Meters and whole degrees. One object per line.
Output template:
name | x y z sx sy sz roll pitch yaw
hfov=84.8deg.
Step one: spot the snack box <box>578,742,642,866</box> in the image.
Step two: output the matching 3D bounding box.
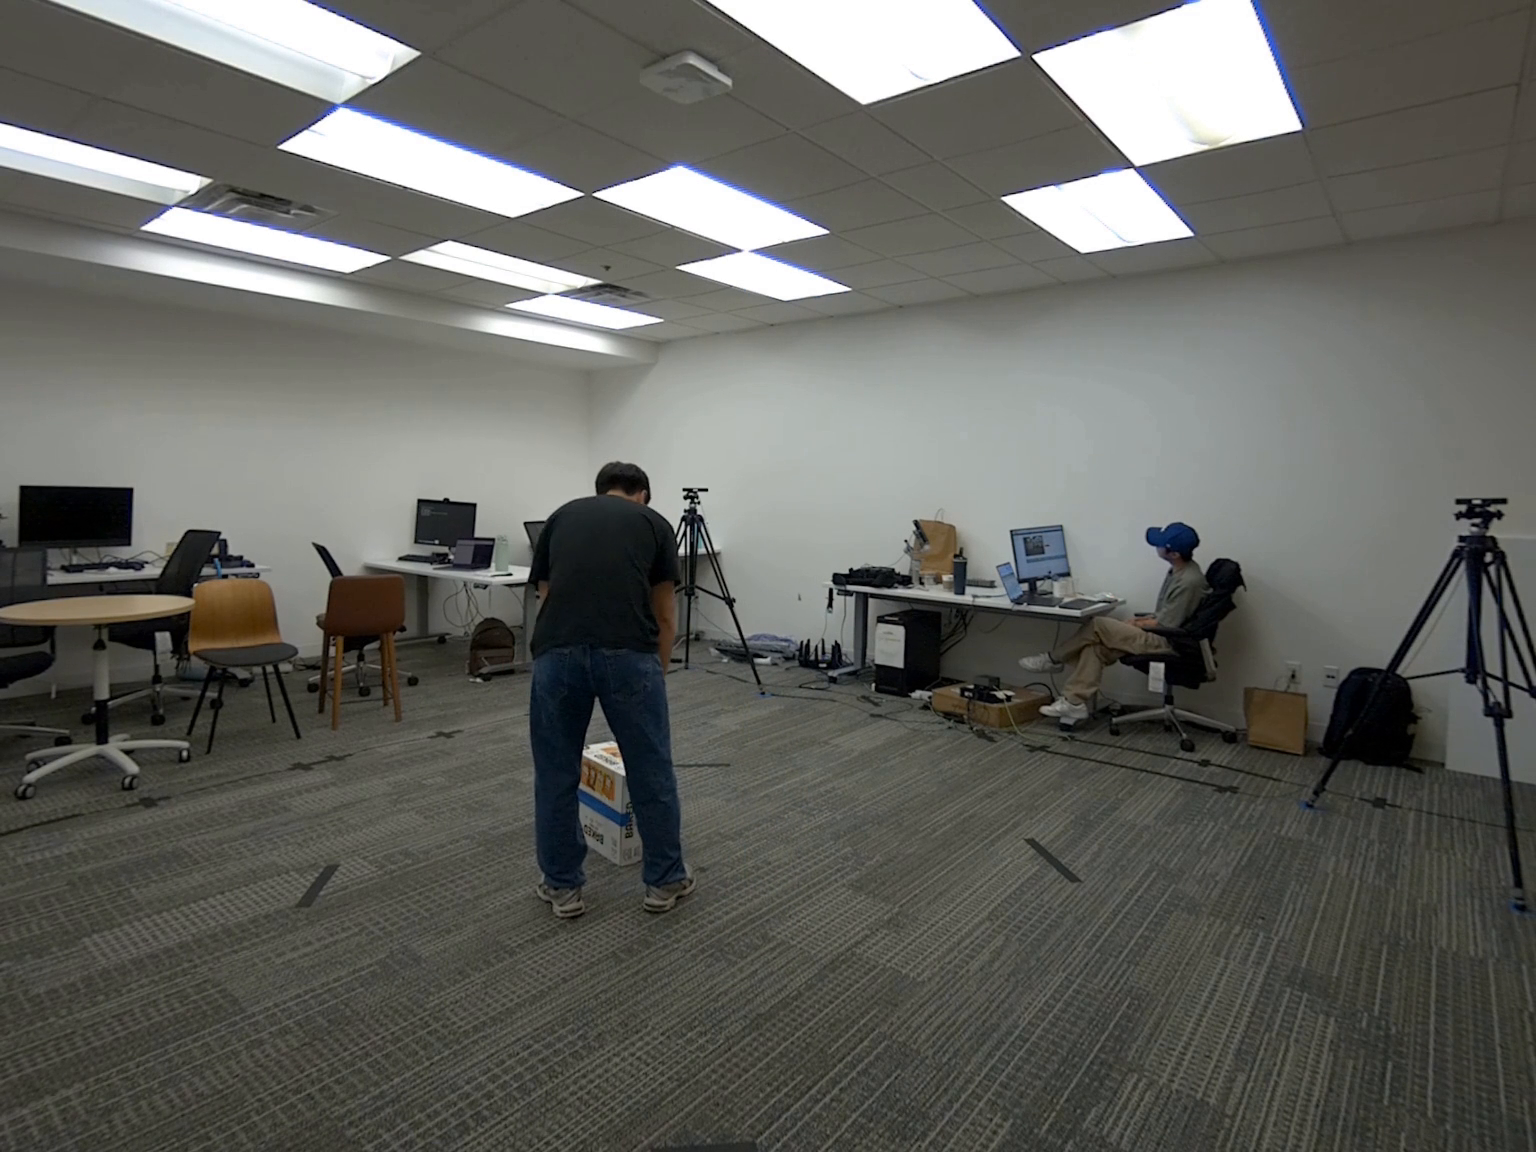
snack box | -0.602 0.874 3.325 0.199 0.339 0.419 0 4 -39
